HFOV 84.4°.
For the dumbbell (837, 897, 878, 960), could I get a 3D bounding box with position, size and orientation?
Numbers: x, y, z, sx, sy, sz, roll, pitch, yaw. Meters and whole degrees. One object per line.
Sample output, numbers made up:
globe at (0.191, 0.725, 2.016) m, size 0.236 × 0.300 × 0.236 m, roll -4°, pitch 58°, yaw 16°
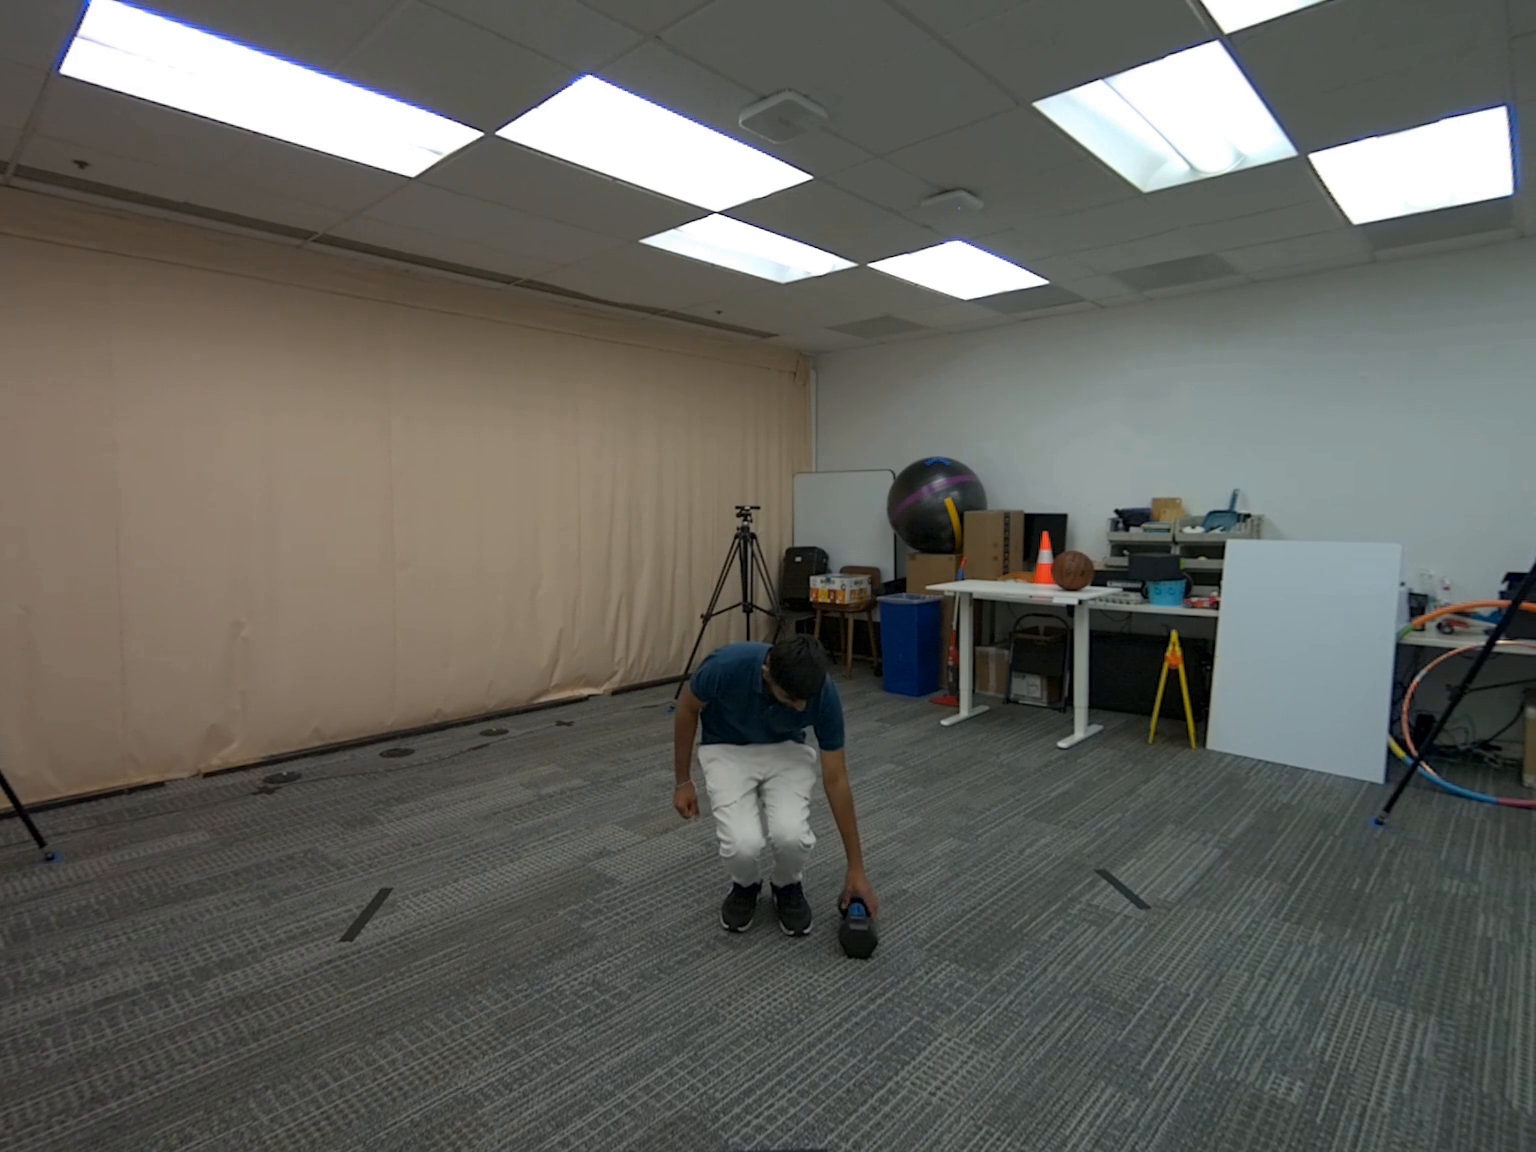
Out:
dumbbell at (0.293, 1.109, 2.714) m, size 0.109 × 0.123 × 0.292 m, roll -29°, pitch 3°, yaw 7°
